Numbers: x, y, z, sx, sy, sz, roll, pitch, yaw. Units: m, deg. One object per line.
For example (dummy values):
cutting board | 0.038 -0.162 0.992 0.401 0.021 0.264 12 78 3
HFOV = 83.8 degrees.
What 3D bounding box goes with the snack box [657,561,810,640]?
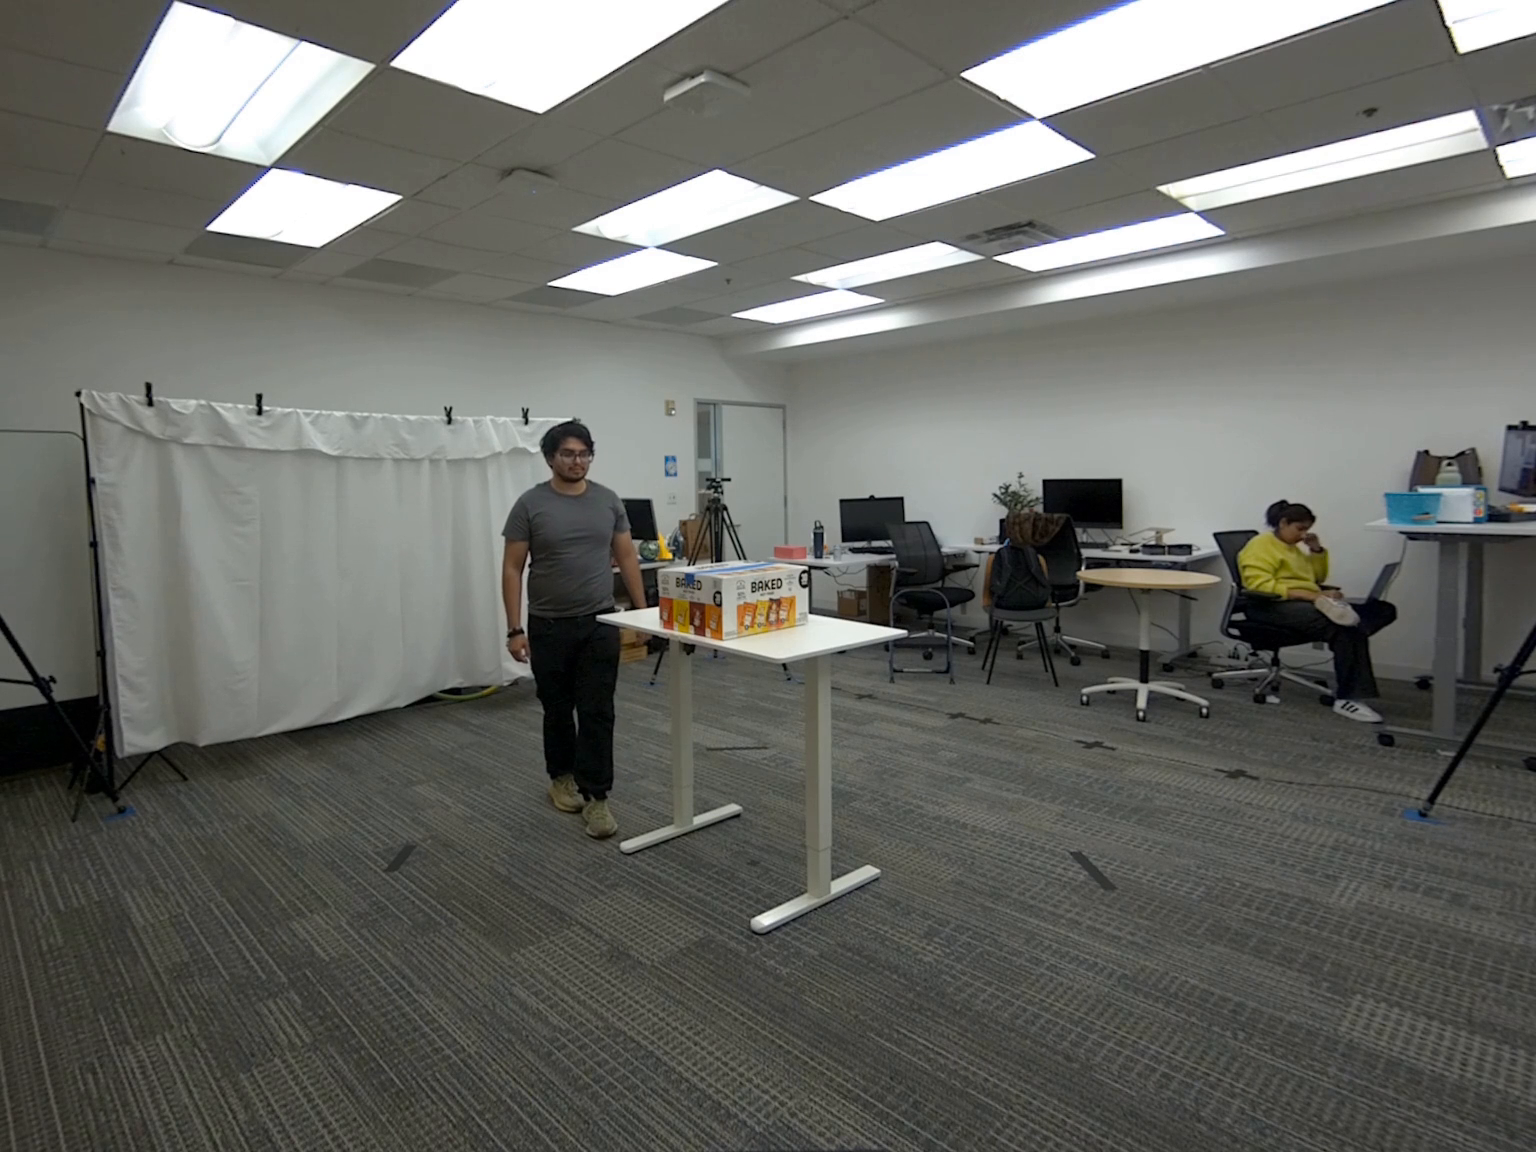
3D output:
snack box | -0.118 0.073 2.976 0.394 0.205 0.351 -7 9 -43
